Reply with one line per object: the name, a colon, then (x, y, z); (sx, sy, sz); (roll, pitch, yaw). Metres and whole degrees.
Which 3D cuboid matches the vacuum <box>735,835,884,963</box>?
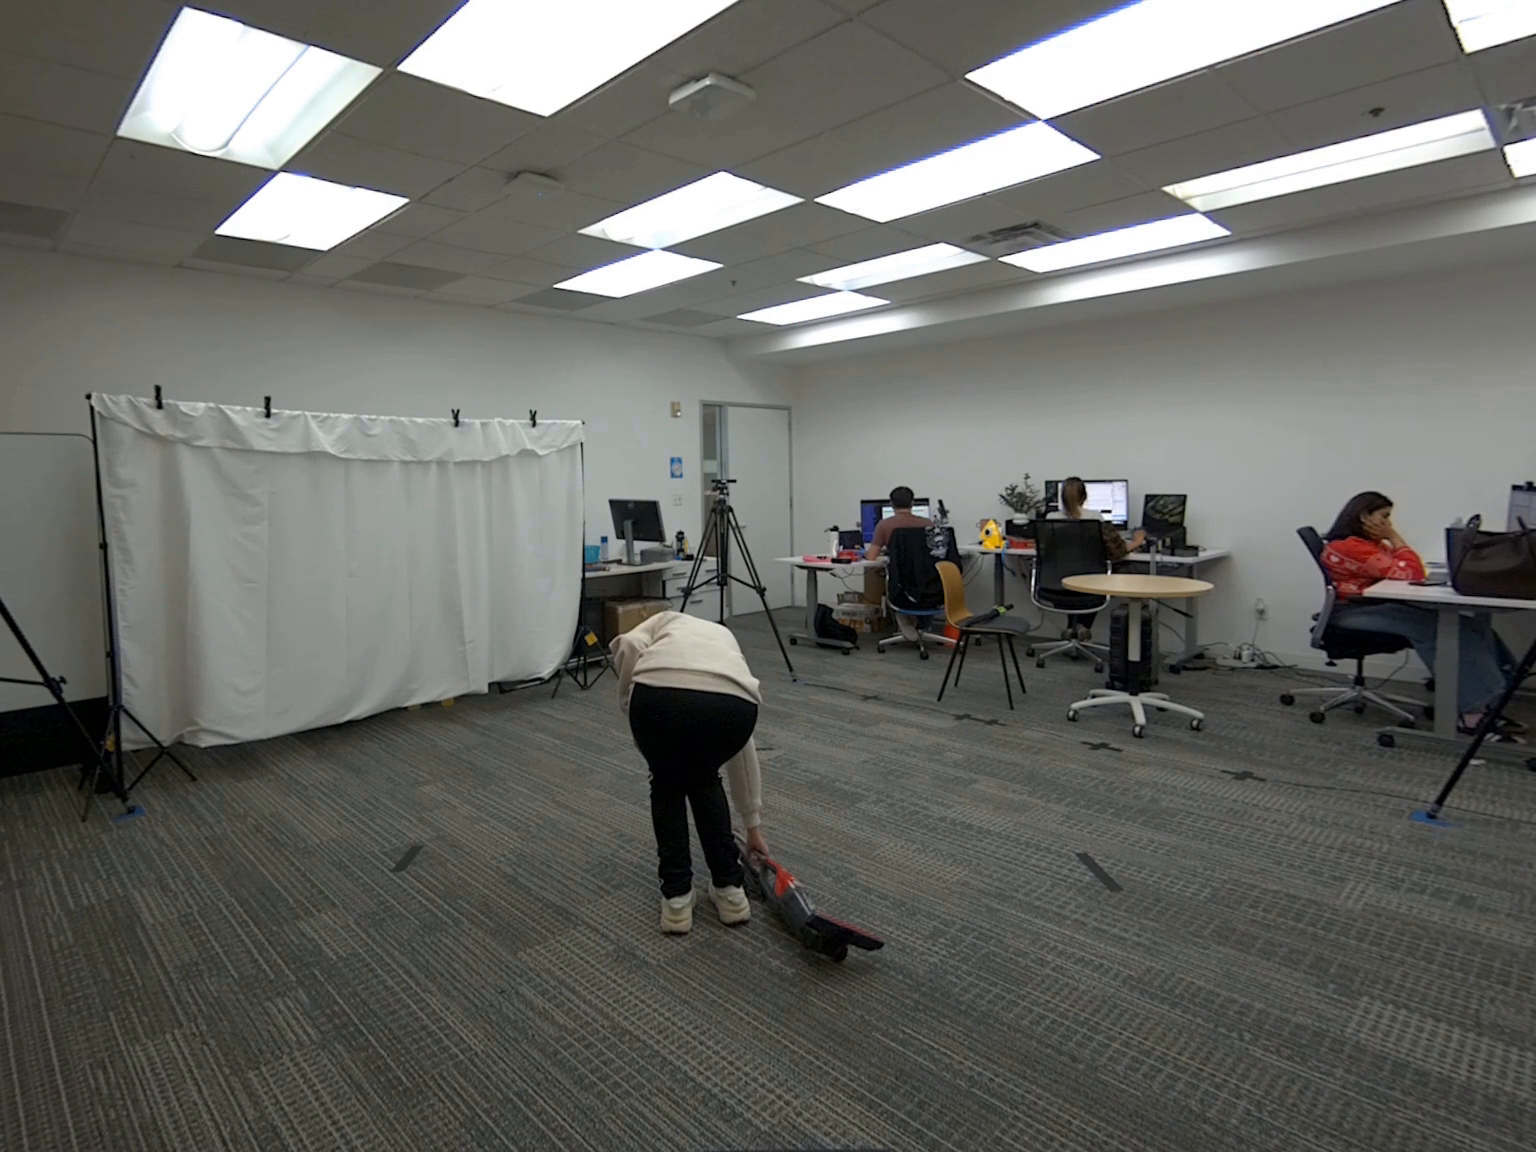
vacuum: (-0.012, 1.019, 2.915); (0.247, 0.144, 1.070); (31, -10, -21)
